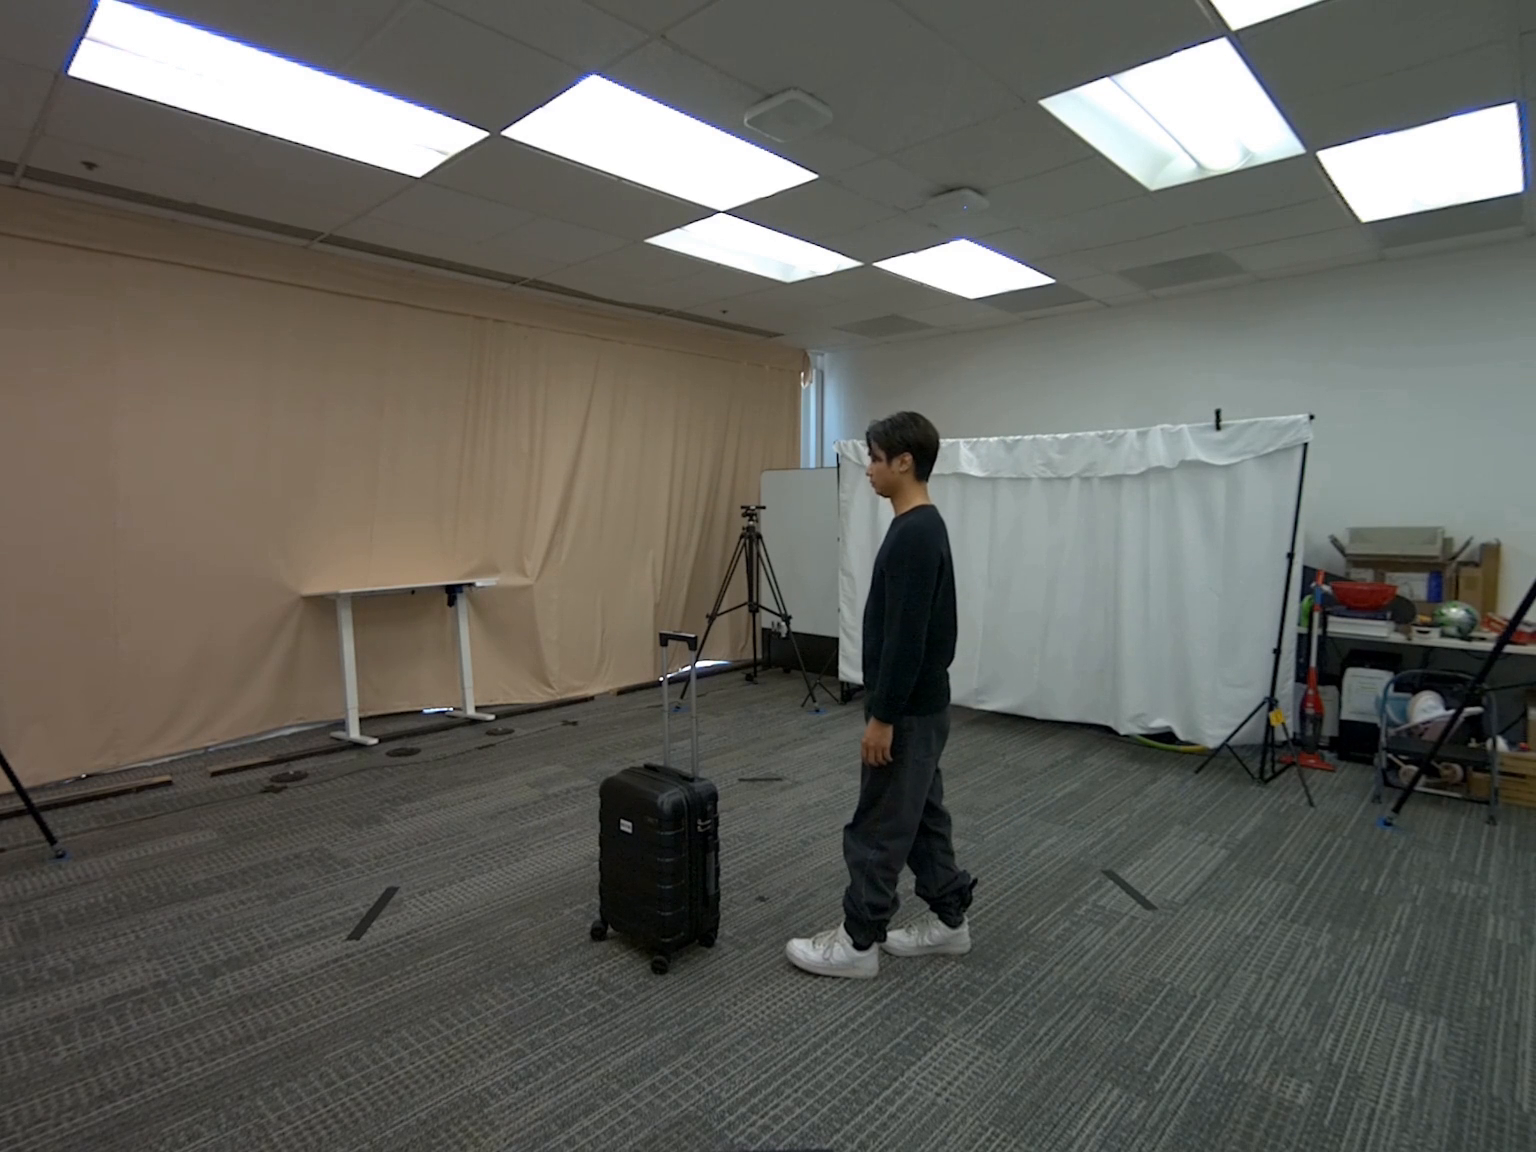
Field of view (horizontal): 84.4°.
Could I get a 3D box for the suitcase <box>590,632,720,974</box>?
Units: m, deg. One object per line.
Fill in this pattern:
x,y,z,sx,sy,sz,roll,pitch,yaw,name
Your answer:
-0.347,0.696,2.660,0.397,0.976,0.249,4,6,41,suitcase
